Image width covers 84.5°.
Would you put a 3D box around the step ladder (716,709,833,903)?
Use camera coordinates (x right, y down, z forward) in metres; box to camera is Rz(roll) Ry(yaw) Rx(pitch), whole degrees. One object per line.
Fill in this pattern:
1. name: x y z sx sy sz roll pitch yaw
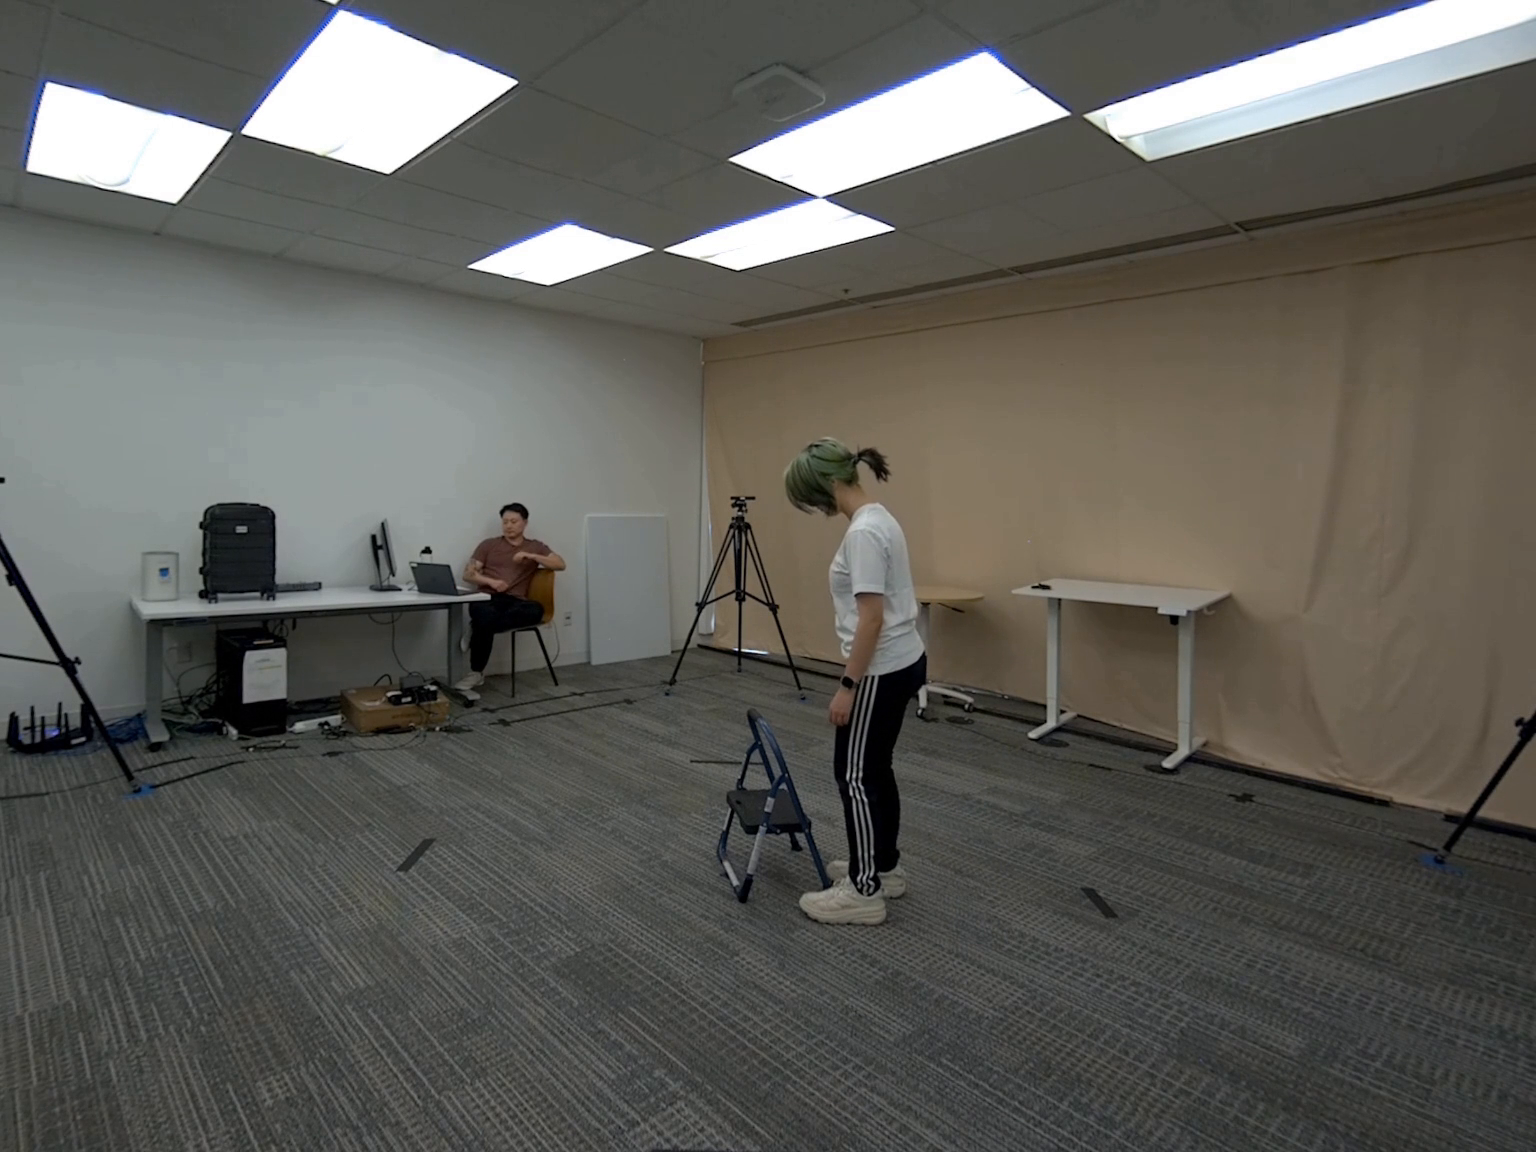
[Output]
1. step ladder: 0.016 0.805 3.109 0.345 0.605 0.436 0 3 -14
